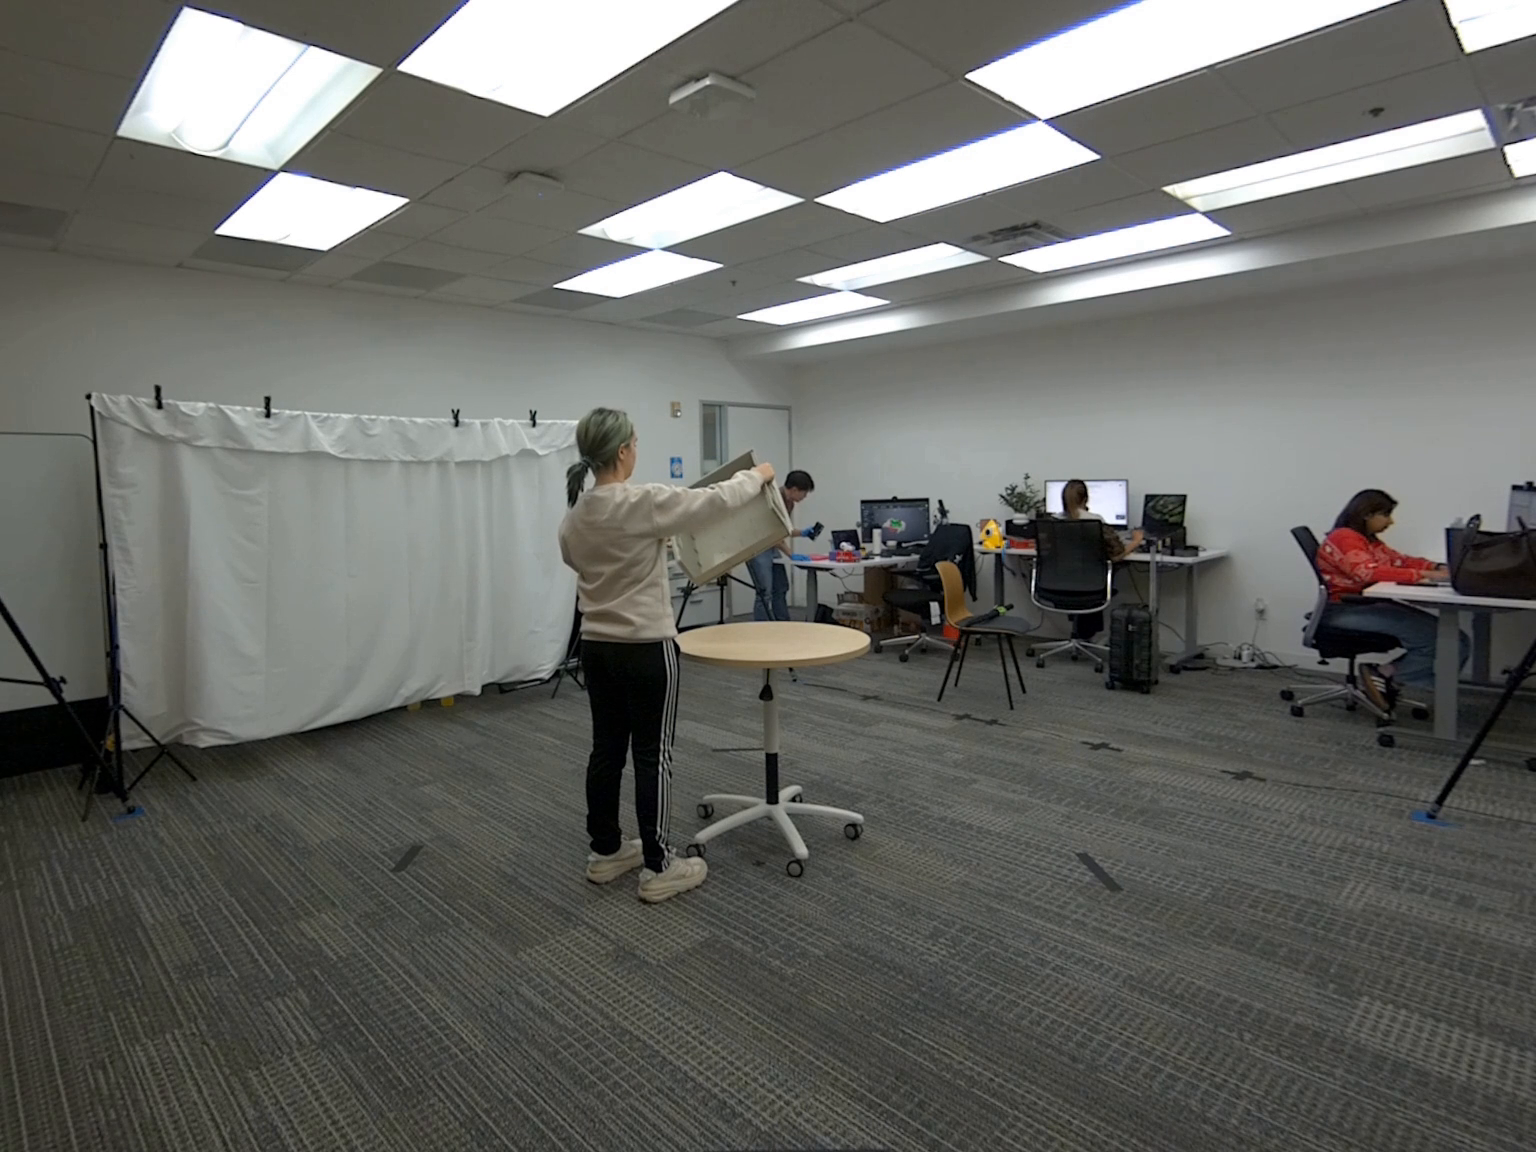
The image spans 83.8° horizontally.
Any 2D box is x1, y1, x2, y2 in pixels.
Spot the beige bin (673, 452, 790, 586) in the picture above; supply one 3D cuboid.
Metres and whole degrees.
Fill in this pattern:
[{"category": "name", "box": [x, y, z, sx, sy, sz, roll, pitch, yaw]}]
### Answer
[{"category": "beige bin", "box": [-0.148, -0.212, 3.254, 0.424, 0.390, 0.181, -31, -46, 14]}]
